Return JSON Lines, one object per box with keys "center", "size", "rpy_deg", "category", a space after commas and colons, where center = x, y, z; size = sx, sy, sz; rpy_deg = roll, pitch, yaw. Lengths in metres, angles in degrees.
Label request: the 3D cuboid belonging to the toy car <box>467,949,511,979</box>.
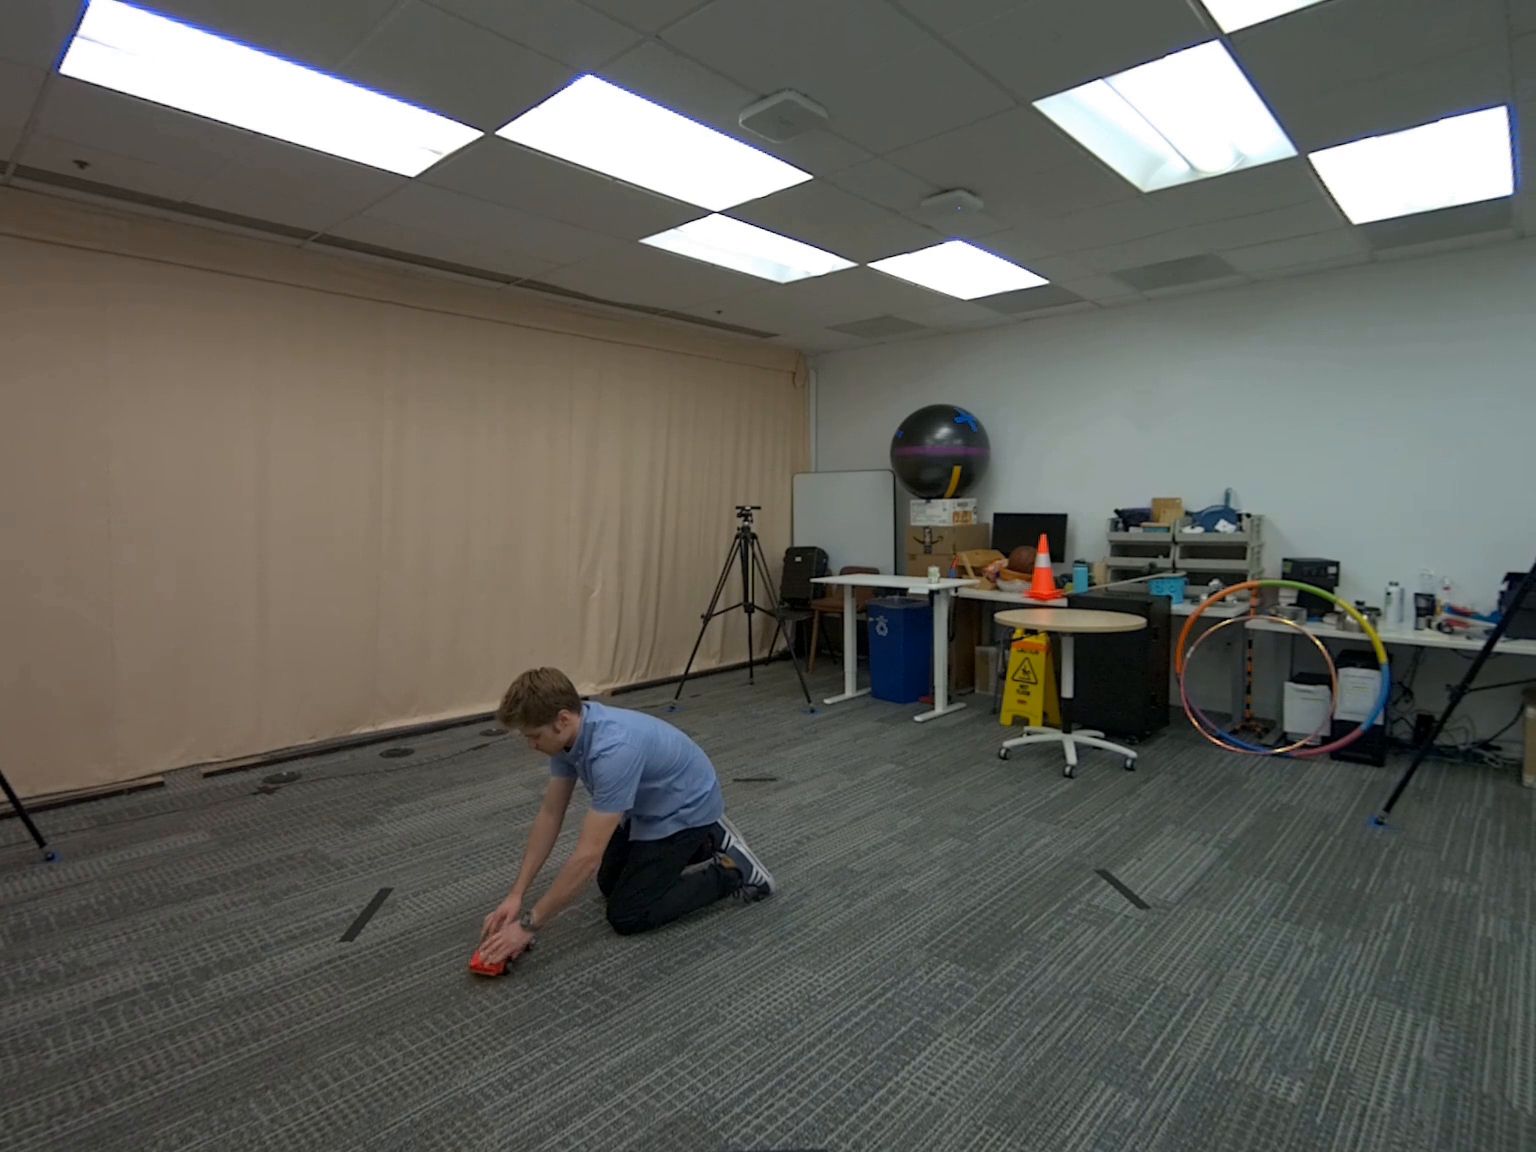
{"center": [-0.817, 1.153, 2.569], "size": [0.132, 0.084, 0.250], "rpy_deg": [1, -10, 10], "category": "toy car"}
